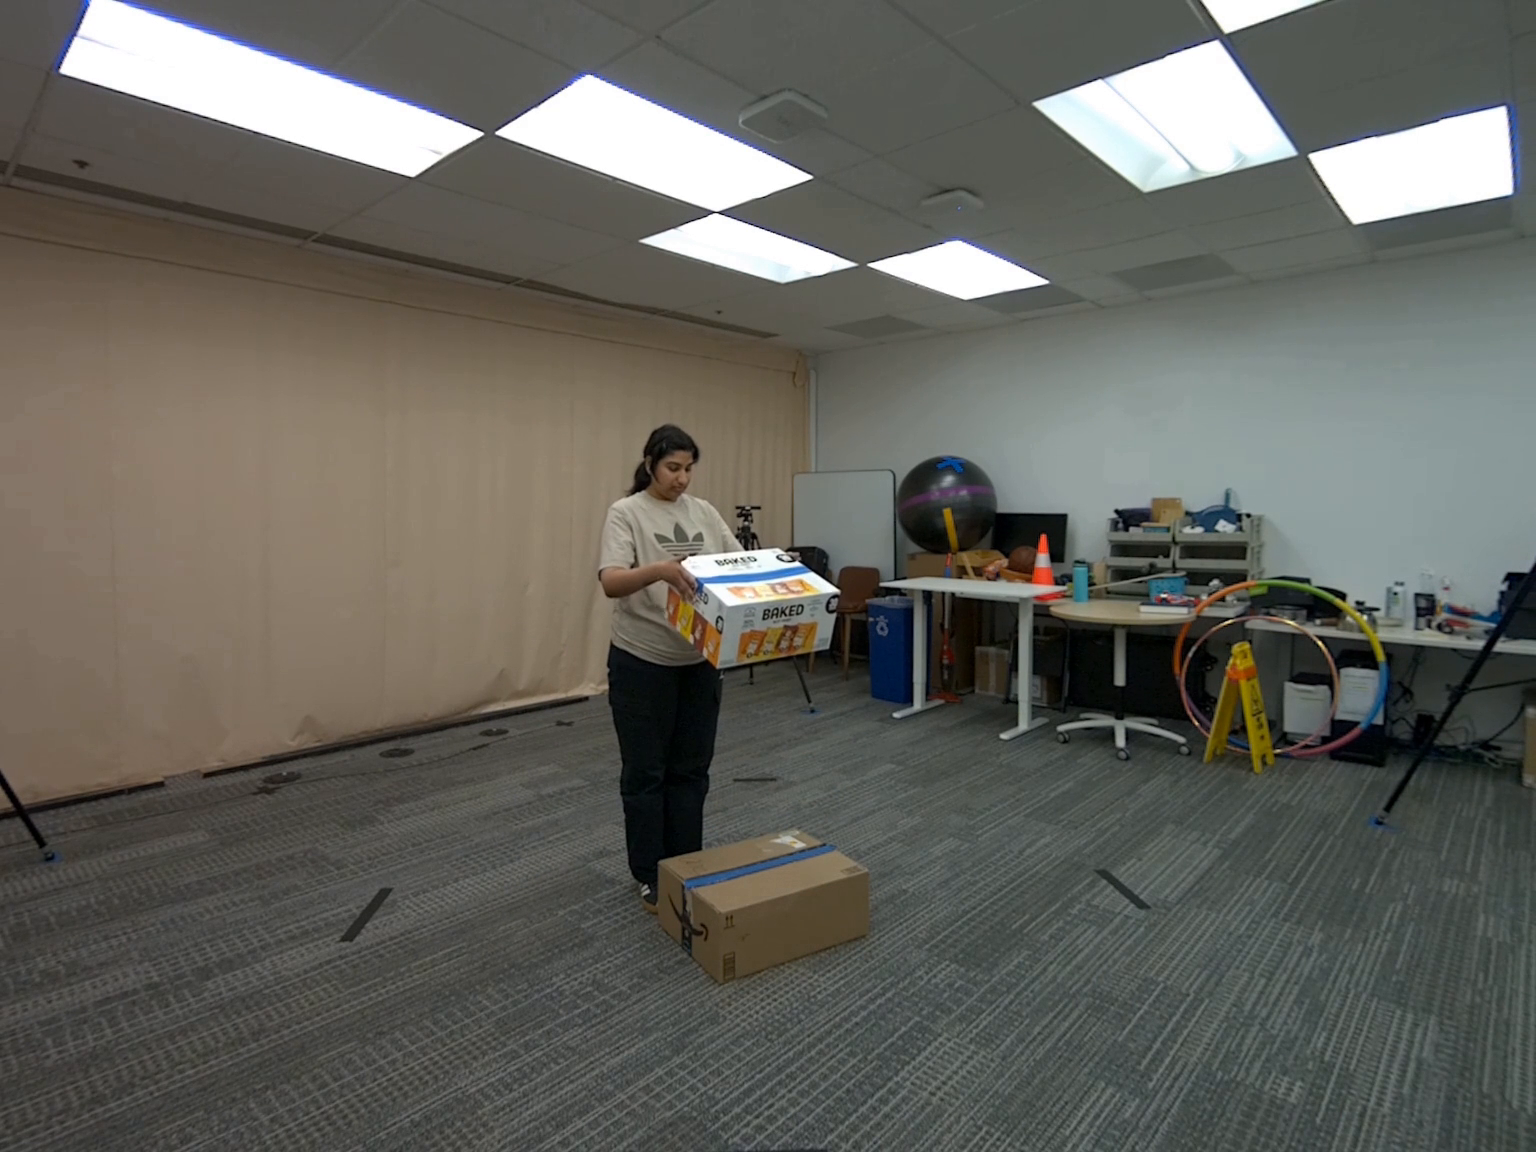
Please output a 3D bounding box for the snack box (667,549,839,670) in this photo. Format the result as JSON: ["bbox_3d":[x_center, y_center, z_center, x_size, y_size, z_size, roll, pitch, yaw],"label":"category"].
[{"bbox_3d":[-0.049,0.090,2.587,0.394,0.204,0.353,-6,27,-33],"label":"snack box"}]
